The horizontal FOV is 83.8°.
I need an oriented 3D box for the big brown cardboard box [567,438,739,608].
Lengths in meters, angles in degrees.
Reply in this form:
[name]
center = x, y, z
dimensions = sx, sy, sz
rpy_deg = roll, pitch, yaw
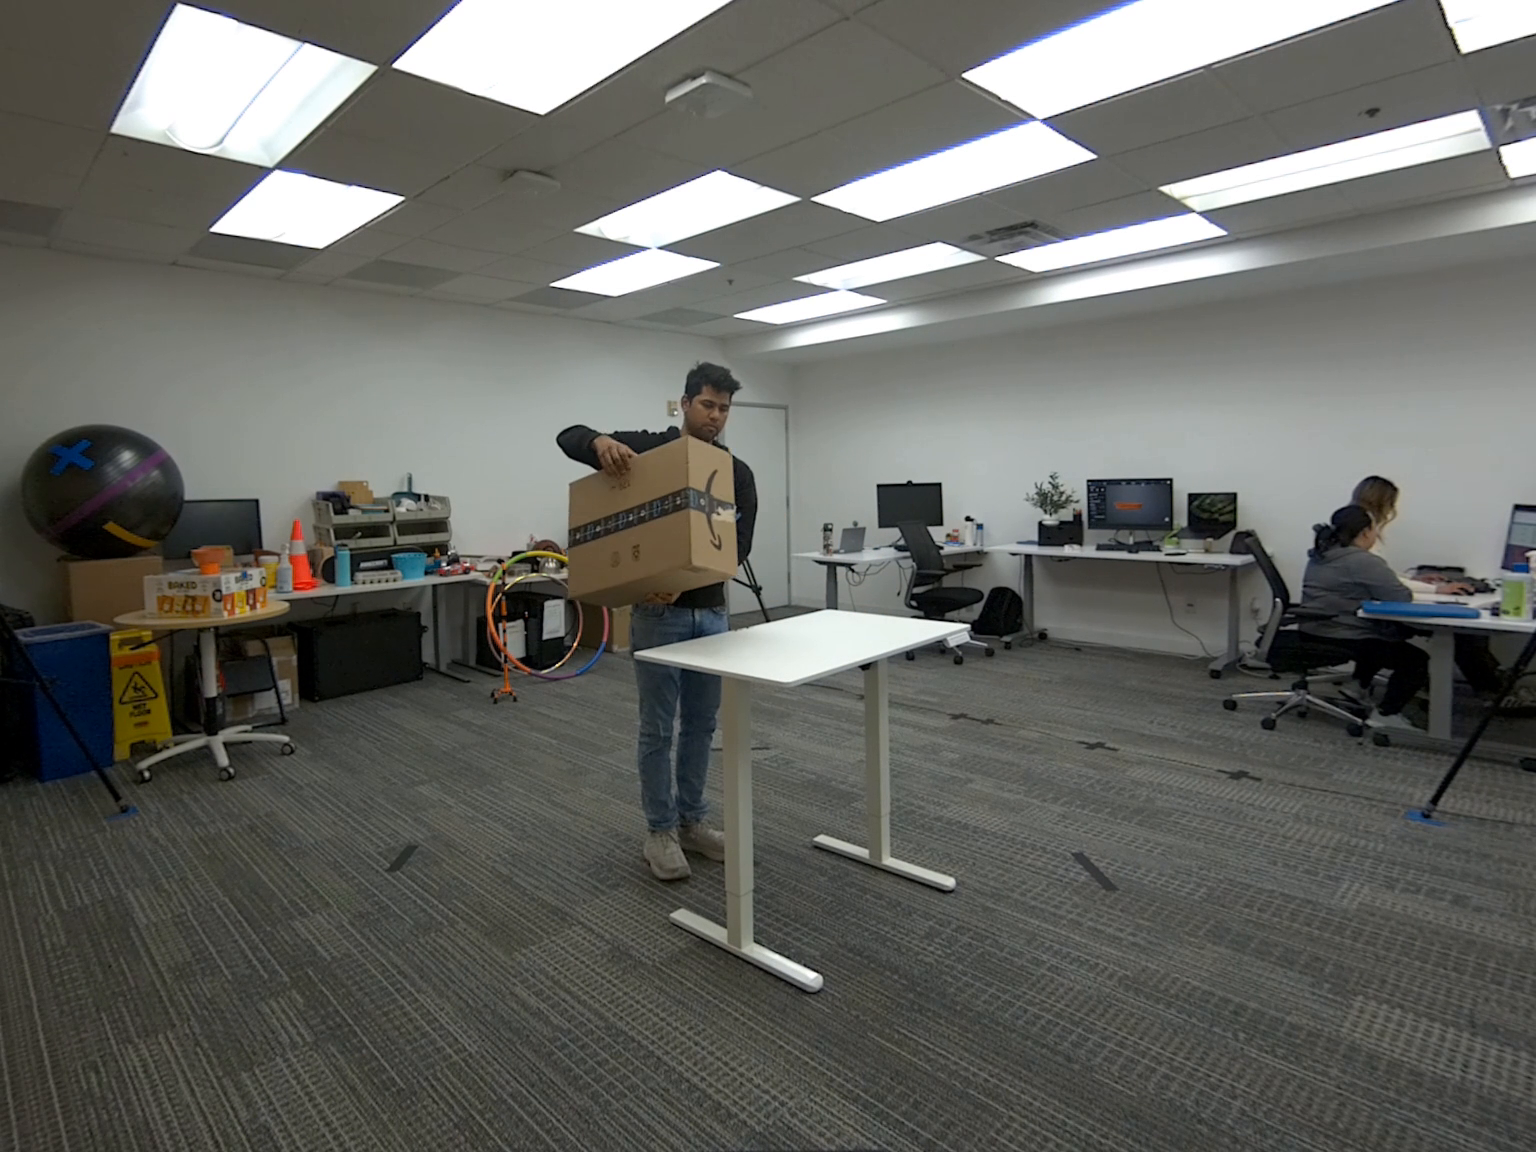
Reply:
[big brown cardboard box]
center = -0.386, -0.160, 2.789
dimensions = 0.600, 0.424, 0.225
rpy_deg = -15, -21, 37
